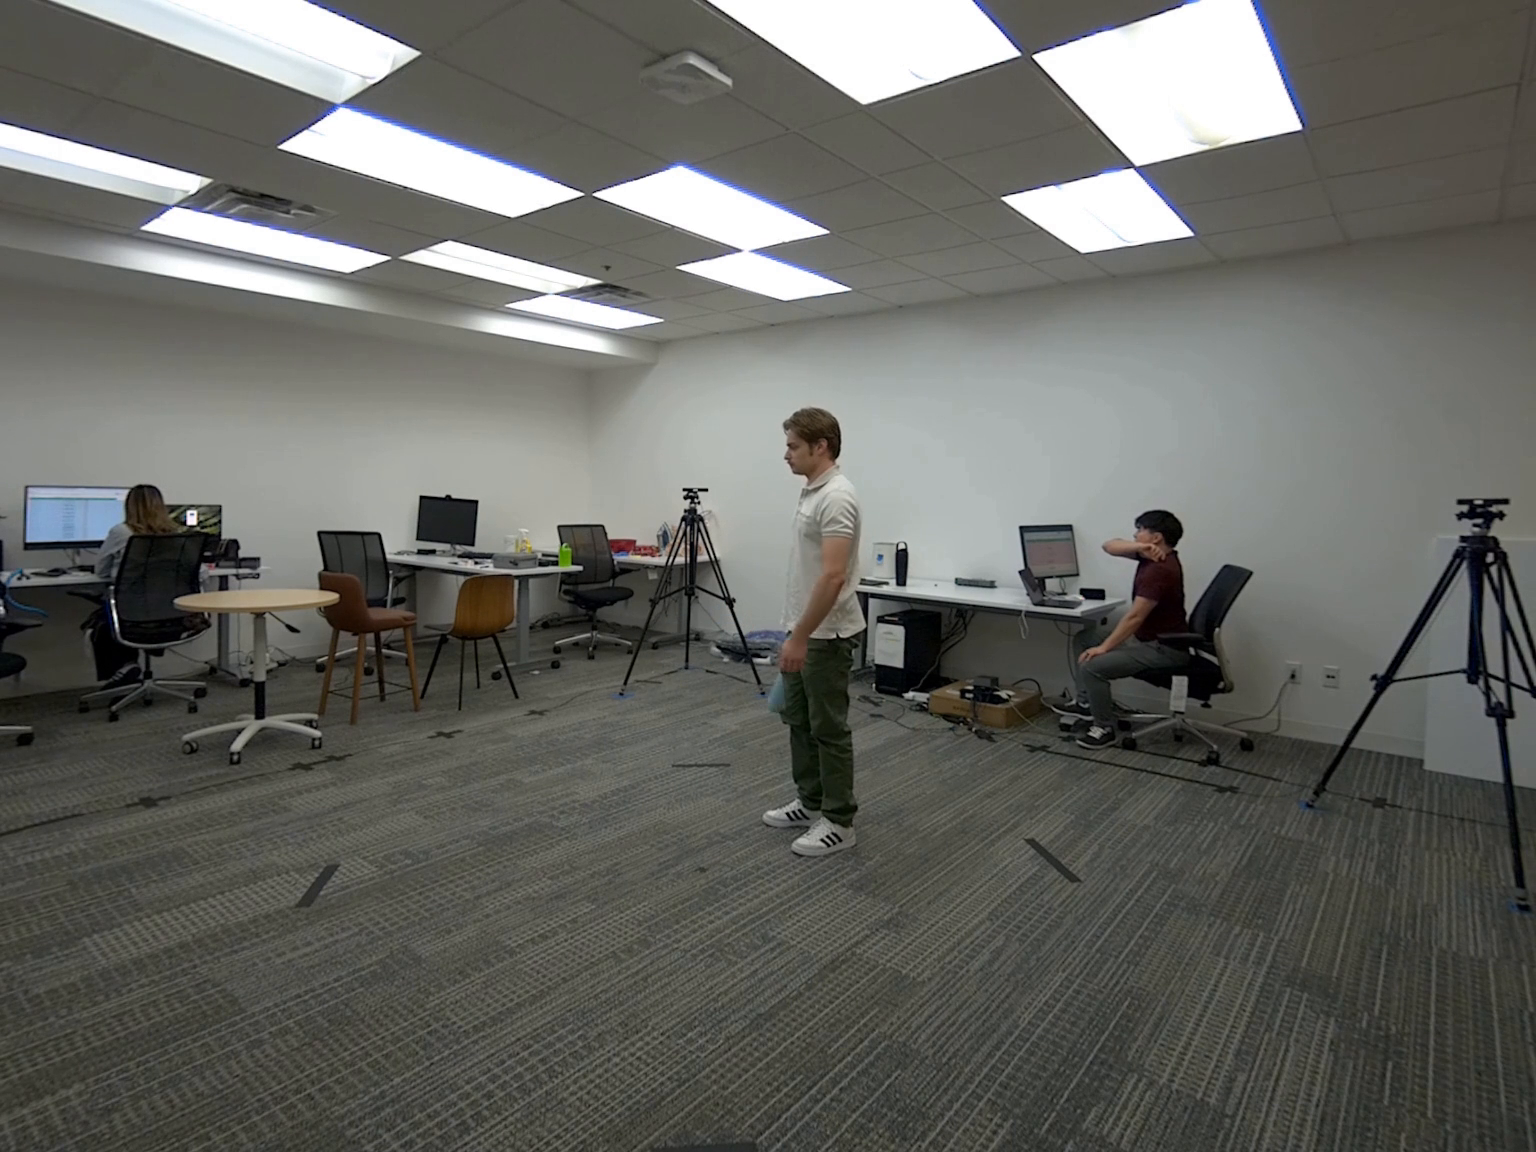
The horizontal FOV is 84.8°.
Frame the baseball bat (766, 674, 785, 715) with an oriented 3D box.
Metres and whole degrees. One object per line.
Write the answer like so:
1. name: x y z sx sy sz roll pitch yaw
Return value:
1. baseball bat: 0.116 0.336 3.684 0.088 0.539 0.090 21 14 -8
